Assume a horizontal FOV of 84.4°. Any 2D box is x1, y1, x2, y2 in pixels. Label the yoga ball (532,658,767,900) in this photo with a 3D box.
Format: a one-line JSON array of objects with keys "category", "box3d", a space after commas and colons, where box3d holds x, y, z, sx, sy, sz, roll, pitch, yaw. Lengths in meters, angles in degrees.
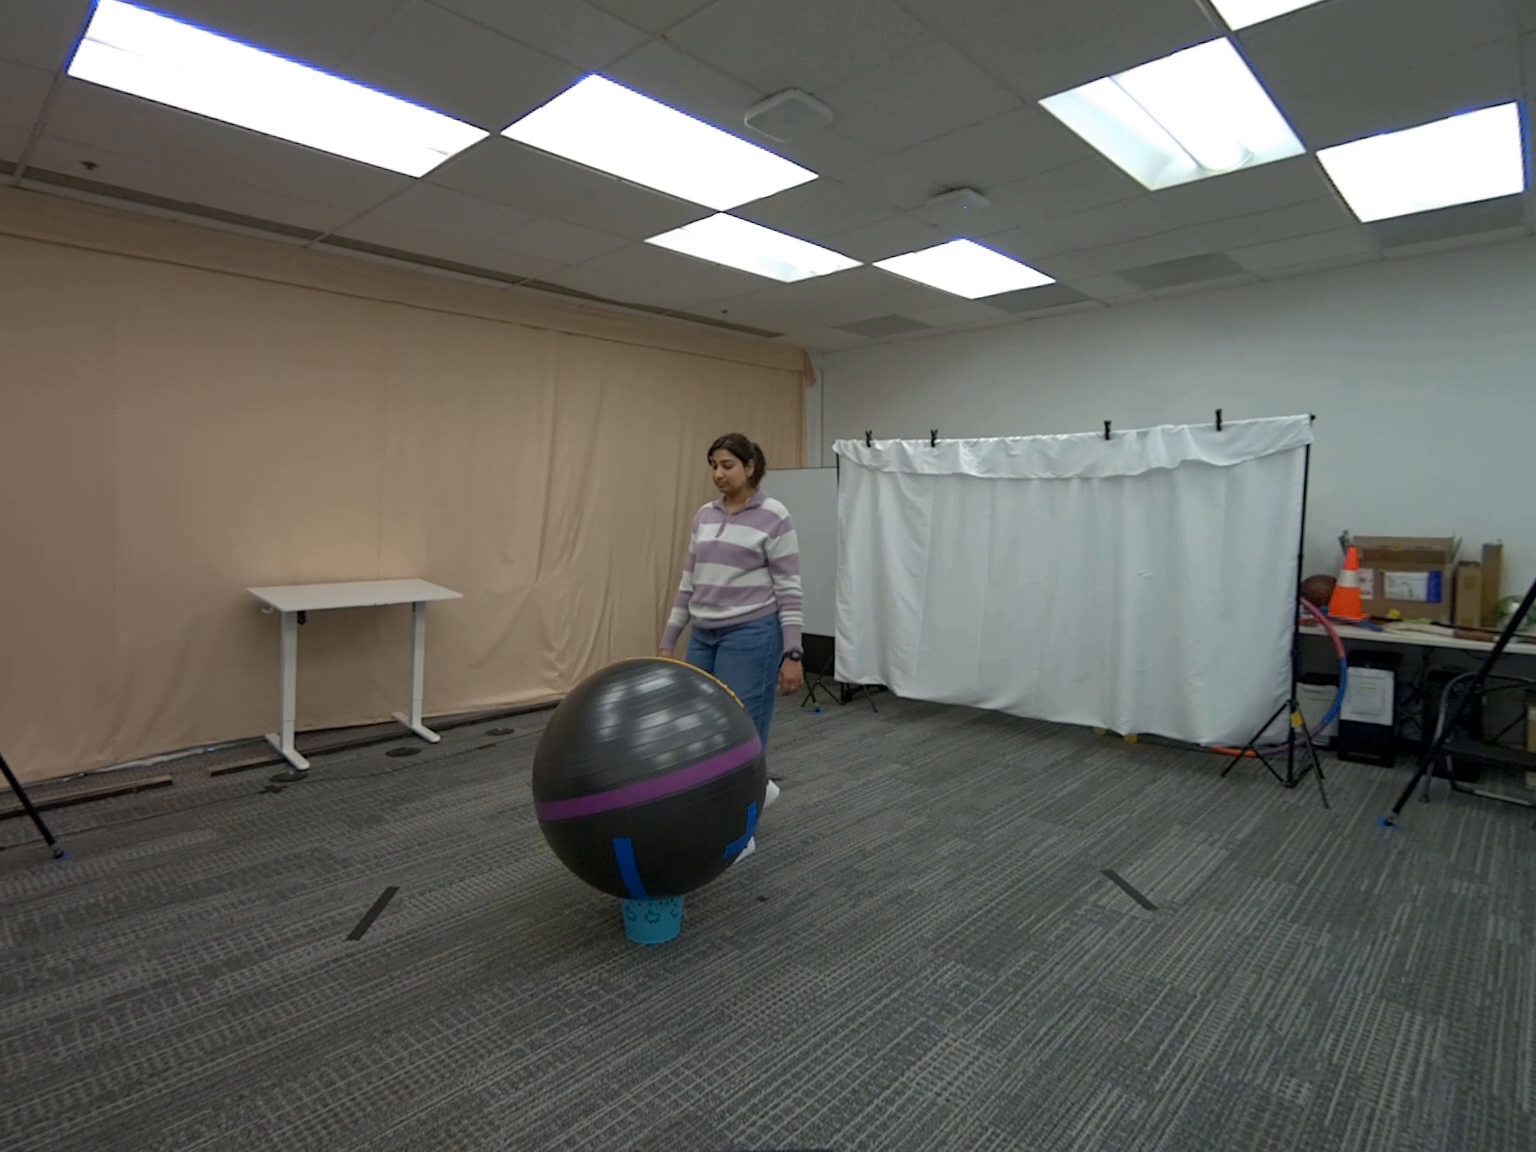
[{"category": "yoga ball", "box3d": [-0.401, 0.657, 2.748, 0.757, 0.756, 0.761, 0, 4, -2]}]
